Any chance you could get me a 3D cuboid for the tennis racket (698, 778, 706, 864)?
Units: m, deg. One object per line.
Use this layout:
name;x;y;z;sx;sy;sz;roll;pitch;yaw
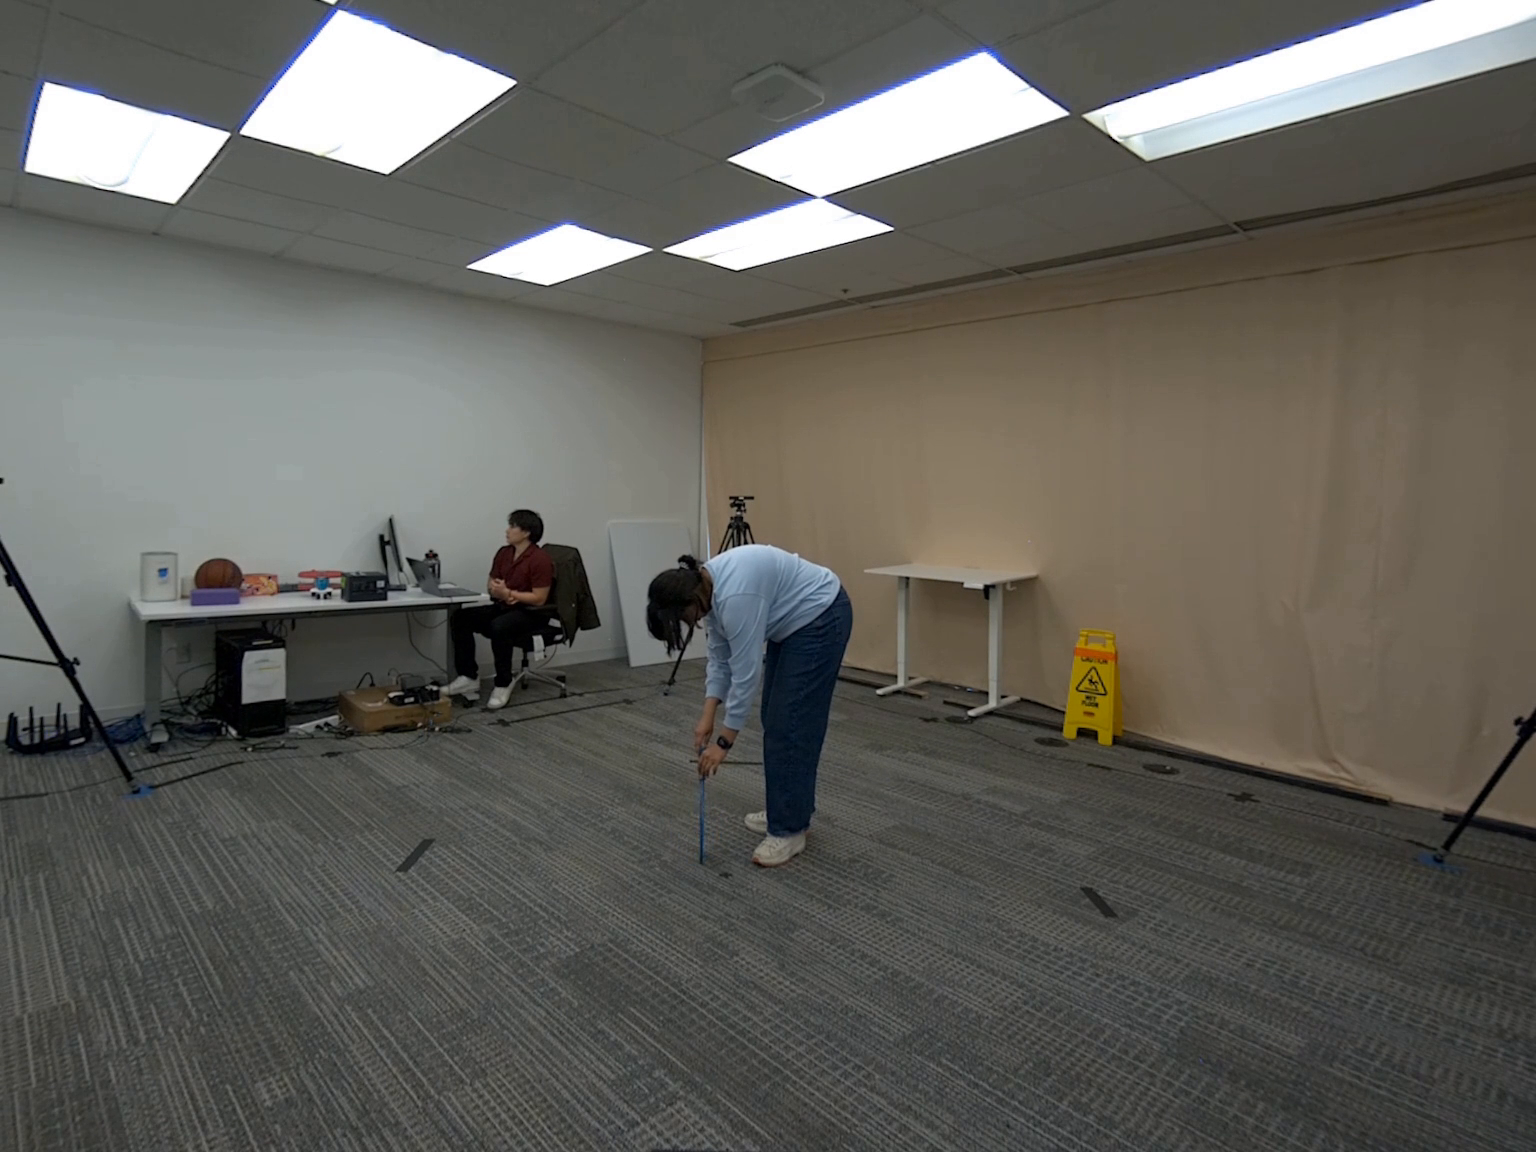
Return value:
tennis racket;-0.260;0.876;3.219;0.032;0.432;0.213;-1;1;1
